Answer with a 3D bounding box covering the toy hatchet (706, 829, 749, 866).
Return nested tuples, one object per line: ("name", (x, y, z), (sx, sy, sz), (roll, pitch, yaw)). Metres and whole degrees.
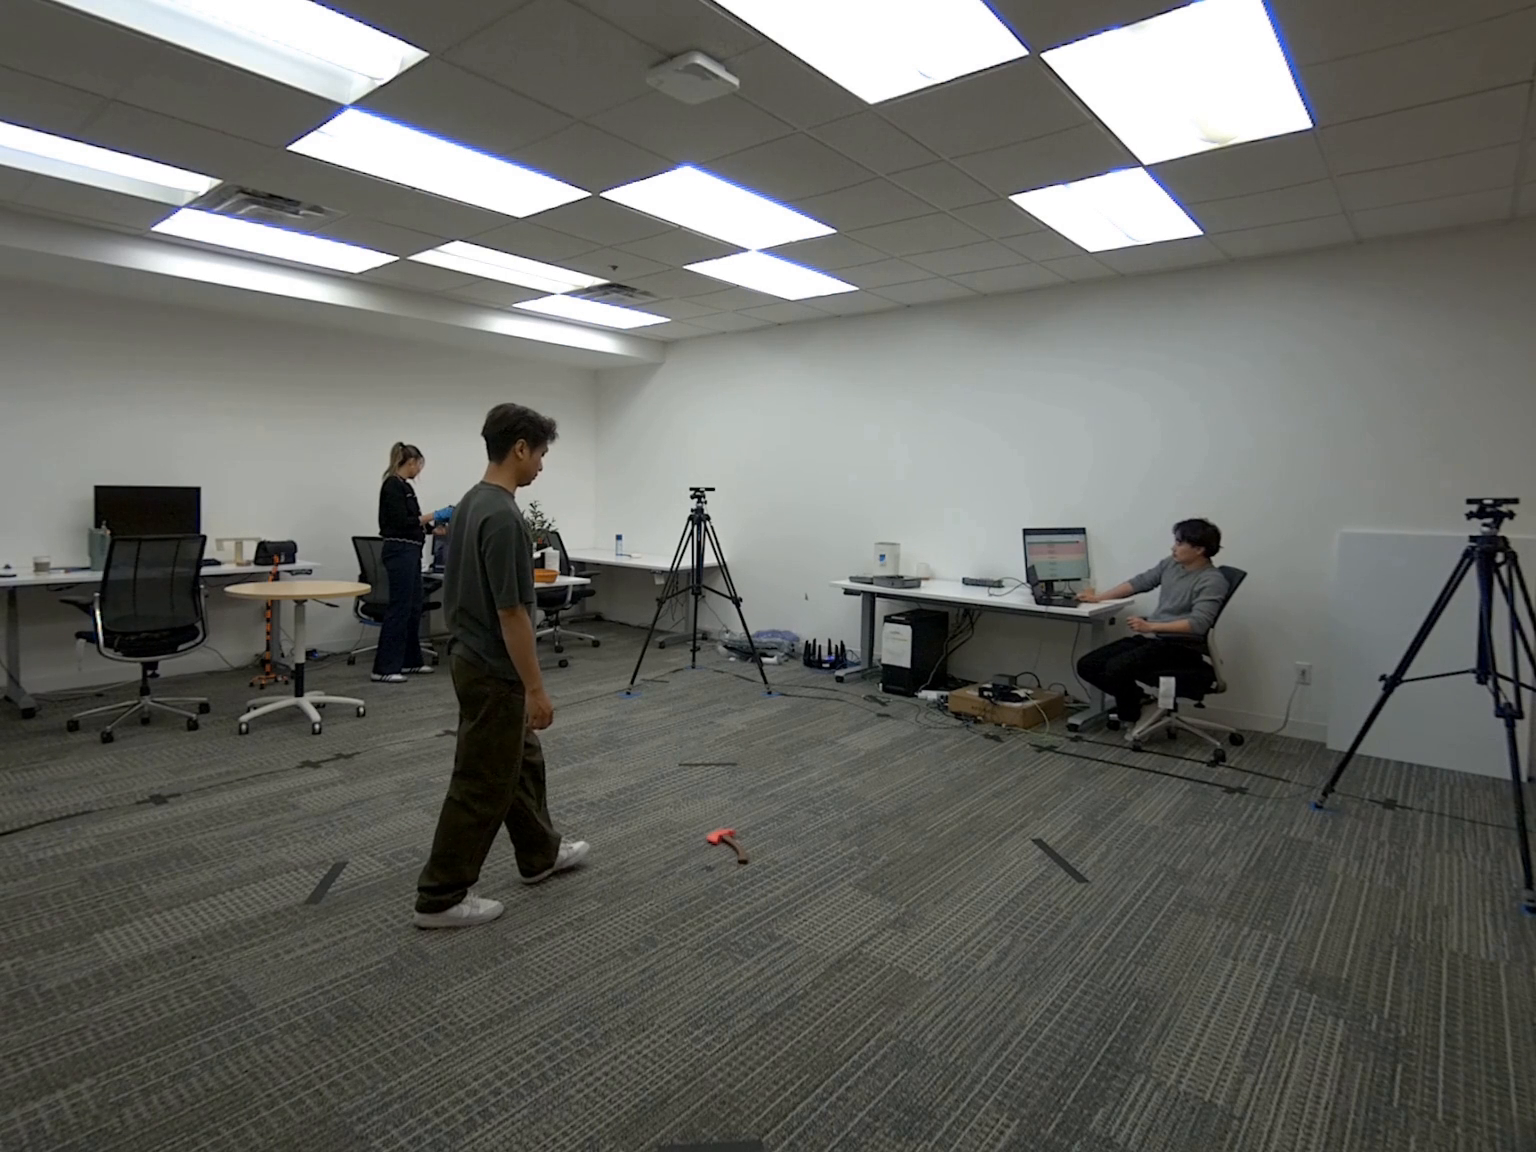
("toy hatchet", (-0.171, 1.038, 3.273), (0.129, 0.029, 0.275), (0, 7, -12))
